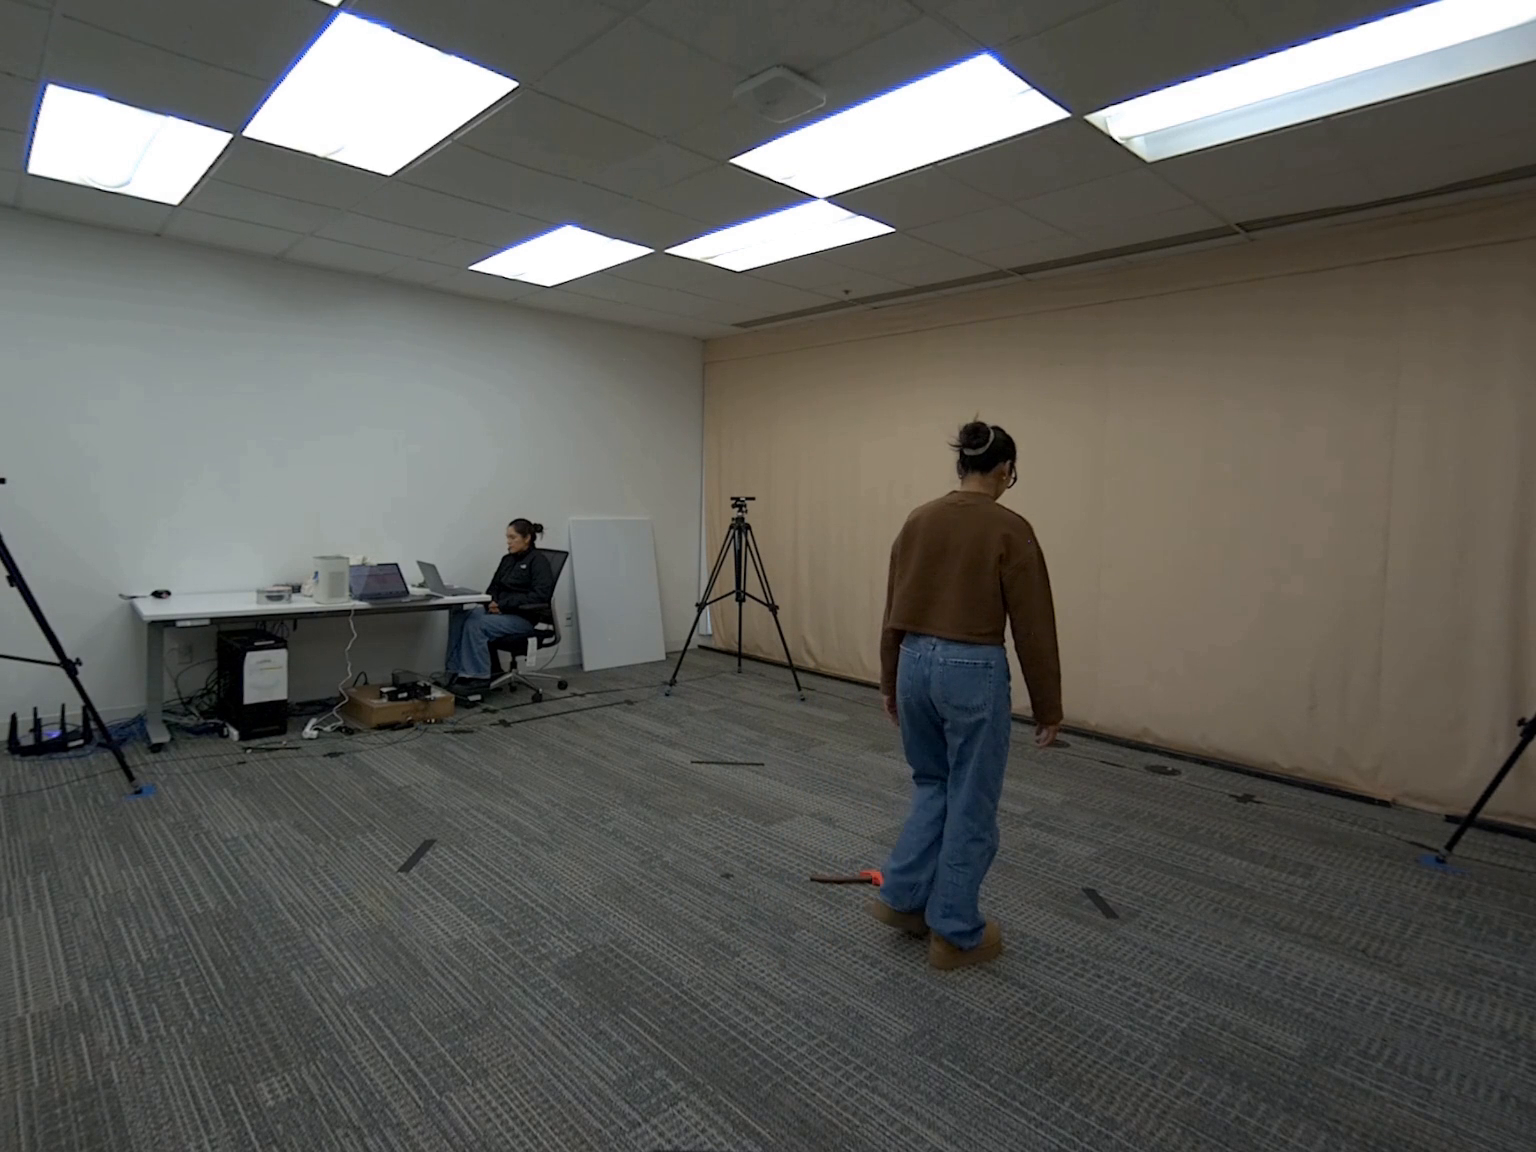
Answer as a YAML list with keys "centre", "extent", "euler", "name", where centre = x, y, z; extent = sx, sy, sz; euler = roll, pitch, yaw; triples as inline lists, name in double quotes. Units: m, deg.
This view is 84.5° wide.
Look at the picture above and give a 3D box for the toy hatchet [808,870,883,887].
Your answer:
- centre: [0.289, 1.106, 3.103]
  extent: [0.273, 0.029, 0.130]
  euler: [1, 5, 11]
  name: "toy hatchet"
